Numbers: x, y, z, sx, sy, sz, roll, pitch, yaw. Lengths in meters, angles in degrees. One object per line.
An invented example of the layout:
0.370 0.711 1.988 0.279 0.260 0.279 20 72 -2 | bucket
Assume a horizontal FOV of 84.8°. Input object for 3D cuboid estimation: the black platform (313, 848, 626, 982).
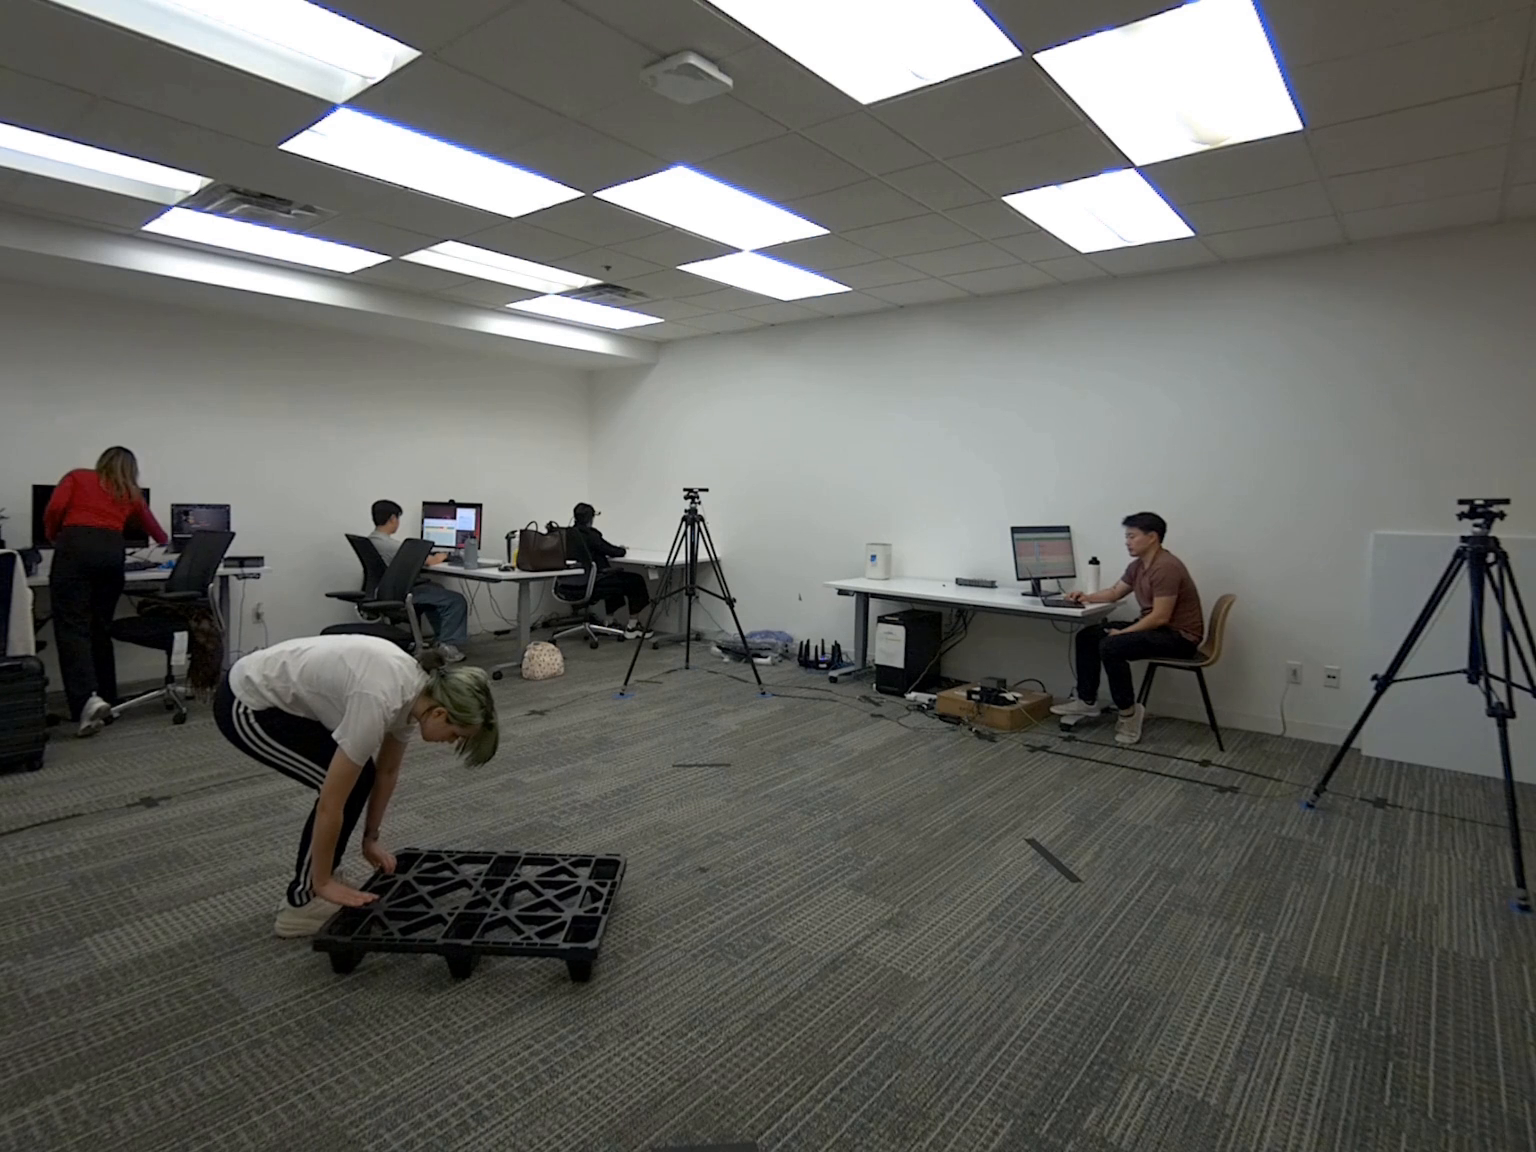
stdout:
-0.878 1.041 2.621 0.807 0.142 0.607 1 7 1 | black platform
